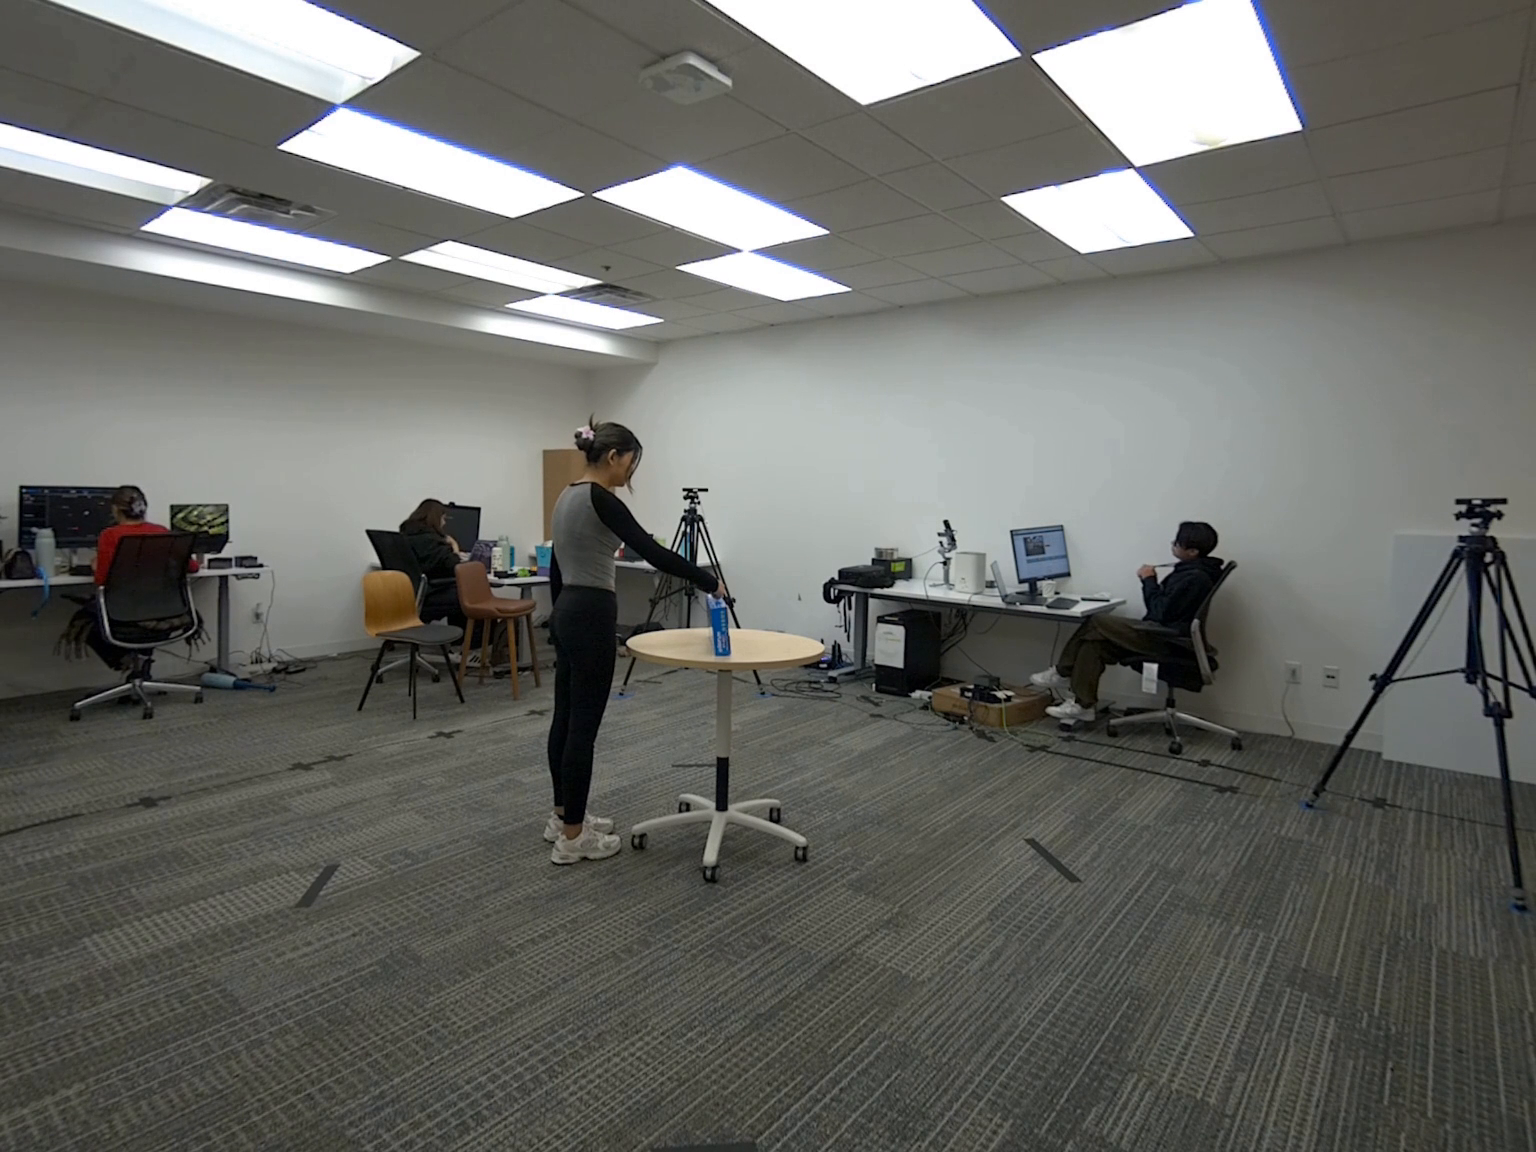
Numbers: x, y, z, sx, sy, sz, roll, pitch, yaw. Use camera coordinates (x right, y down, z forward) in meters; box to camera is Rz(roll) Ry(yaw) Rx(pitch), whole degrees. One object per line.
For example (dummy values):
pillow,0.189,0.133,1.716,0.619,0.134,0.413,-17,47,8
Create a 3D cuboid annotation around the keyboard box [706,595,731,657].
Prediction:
keyboard box,-0.209,0.166,3.236,0.059,0.175,0.441,-3,5,-7
